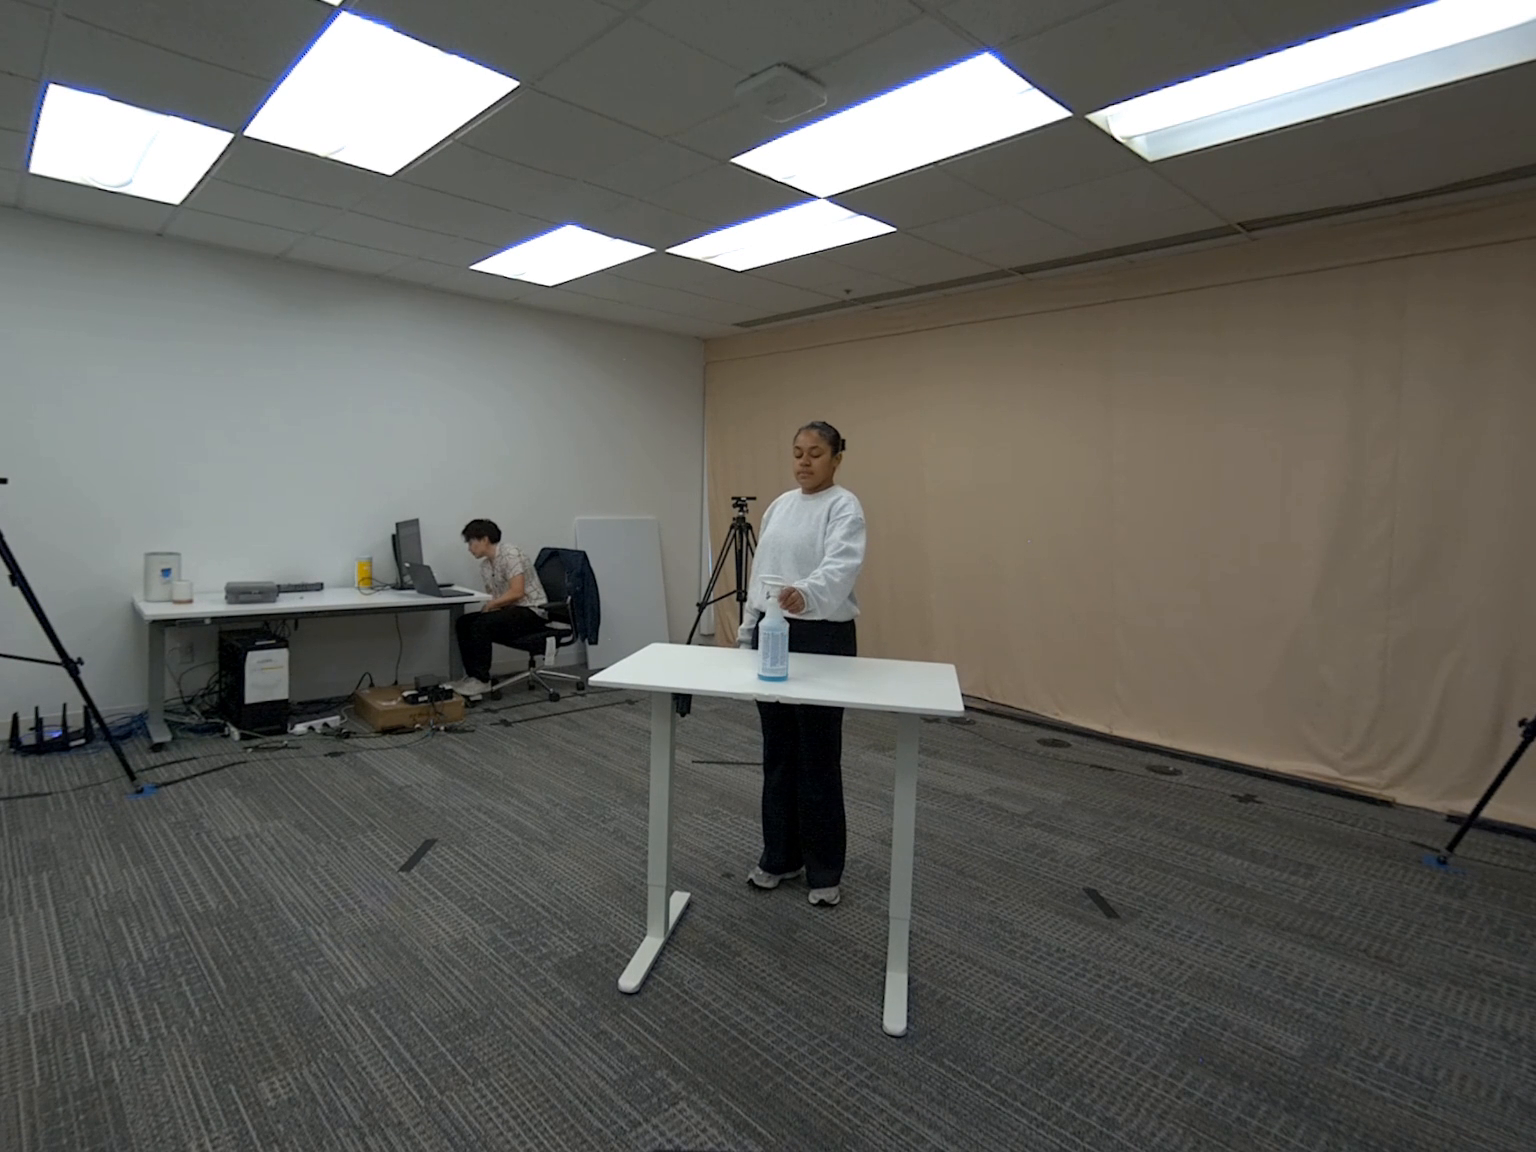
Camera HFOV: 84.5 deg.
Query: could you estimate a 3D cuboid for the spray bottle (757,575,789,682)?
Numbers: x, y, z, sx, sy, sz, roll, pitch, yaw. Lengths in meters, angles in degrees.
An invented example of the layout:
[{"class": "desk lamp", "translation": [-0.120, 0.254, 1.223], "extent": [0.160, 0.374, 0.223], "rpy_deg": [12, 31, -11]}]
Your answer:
[{"class": "spray bottle", "translation": [0.006, 0.150, 2.387], "extent": [0.091, 0.296, 0.086], "rpy_deg": [0, 4, 12]}]
